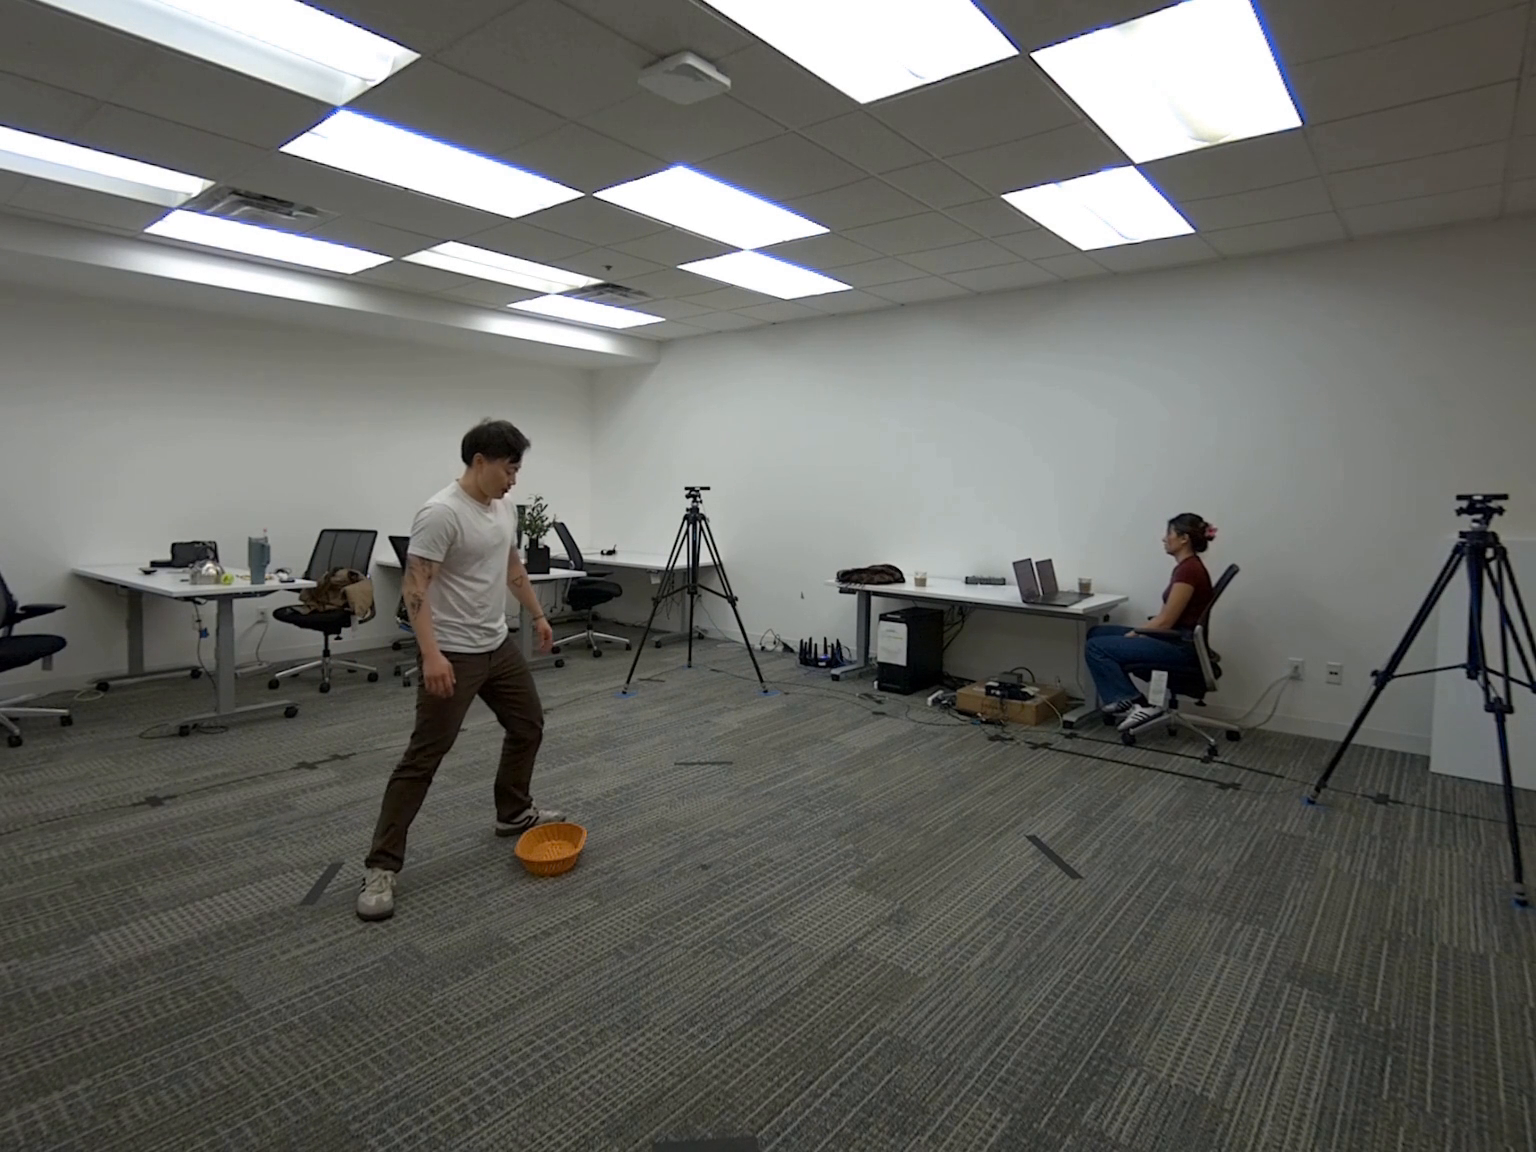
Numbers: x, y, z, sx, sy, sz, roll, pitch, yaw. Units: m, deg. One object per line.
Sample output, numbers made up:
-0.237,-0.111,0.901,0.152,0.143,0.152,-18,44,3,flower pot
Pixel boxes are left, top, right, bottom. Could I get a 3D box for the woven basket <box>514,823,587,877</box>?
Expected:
-0.814,1.015,3.164,0.252,0.073,0.352,-1,5,-2,woven basket
